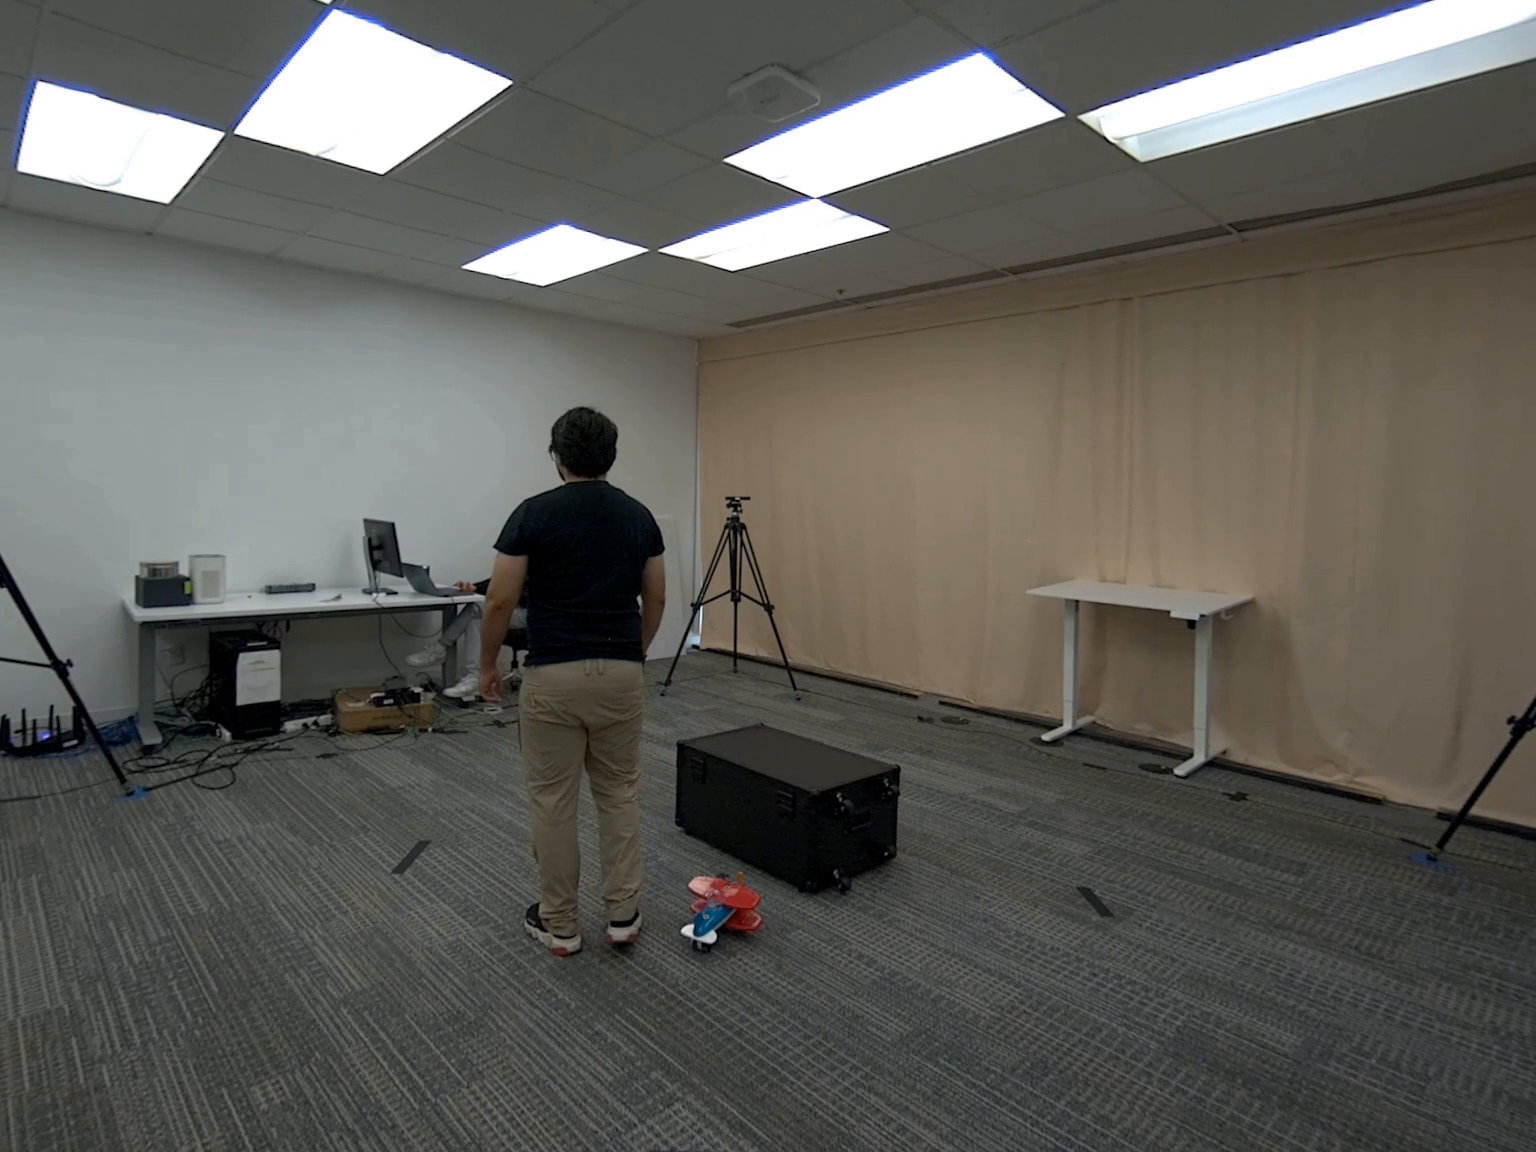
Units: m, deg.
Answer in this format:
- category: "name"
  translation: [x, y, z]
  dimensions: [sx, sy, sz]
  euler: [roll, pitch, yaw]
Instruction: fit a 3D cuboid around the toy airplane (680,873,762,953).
- category: "toy airplane"
  translation: [-0.149, 1.075, 2.654]
  dimensions: [0.251, 0.156, 0.259]
  euler: [2, 4, 2]
